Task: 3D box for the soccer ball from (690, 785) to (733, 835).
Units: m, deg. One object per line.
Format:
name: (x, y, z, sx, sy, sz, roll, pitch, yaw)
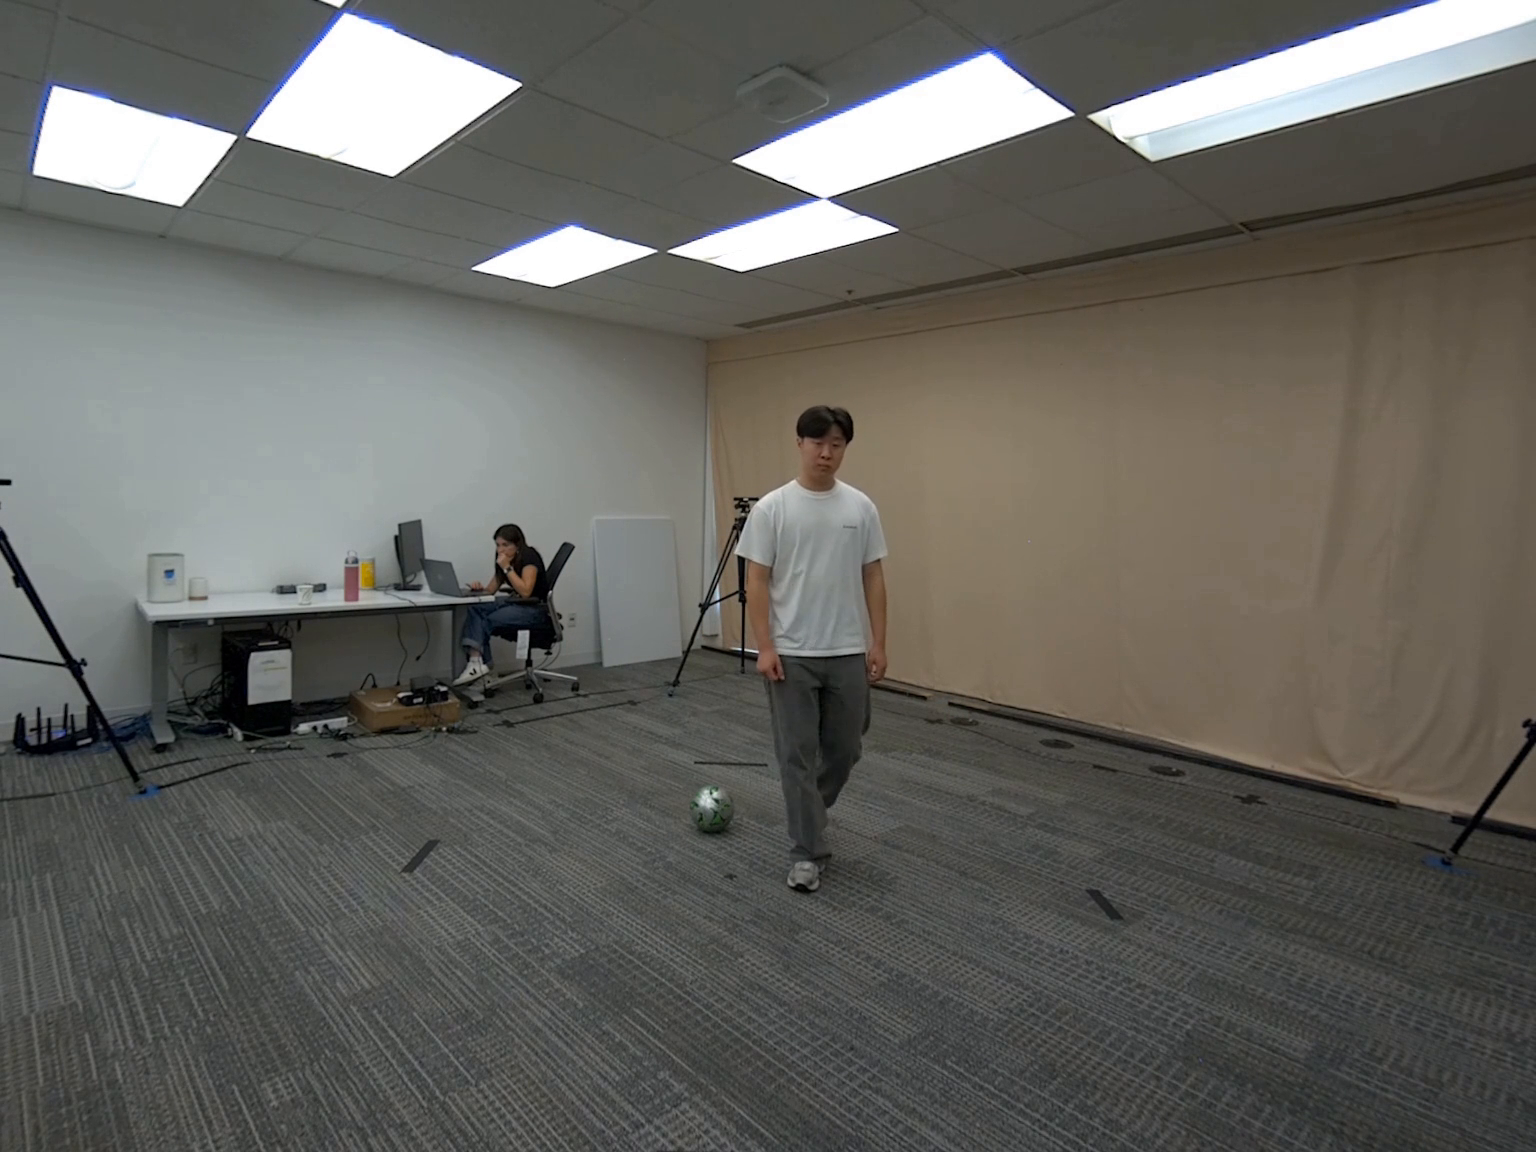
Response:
soccer ball: (-0.241, 0.970, 3.536, 0.187, 0.187, 0.188, 1, 4, -1)
